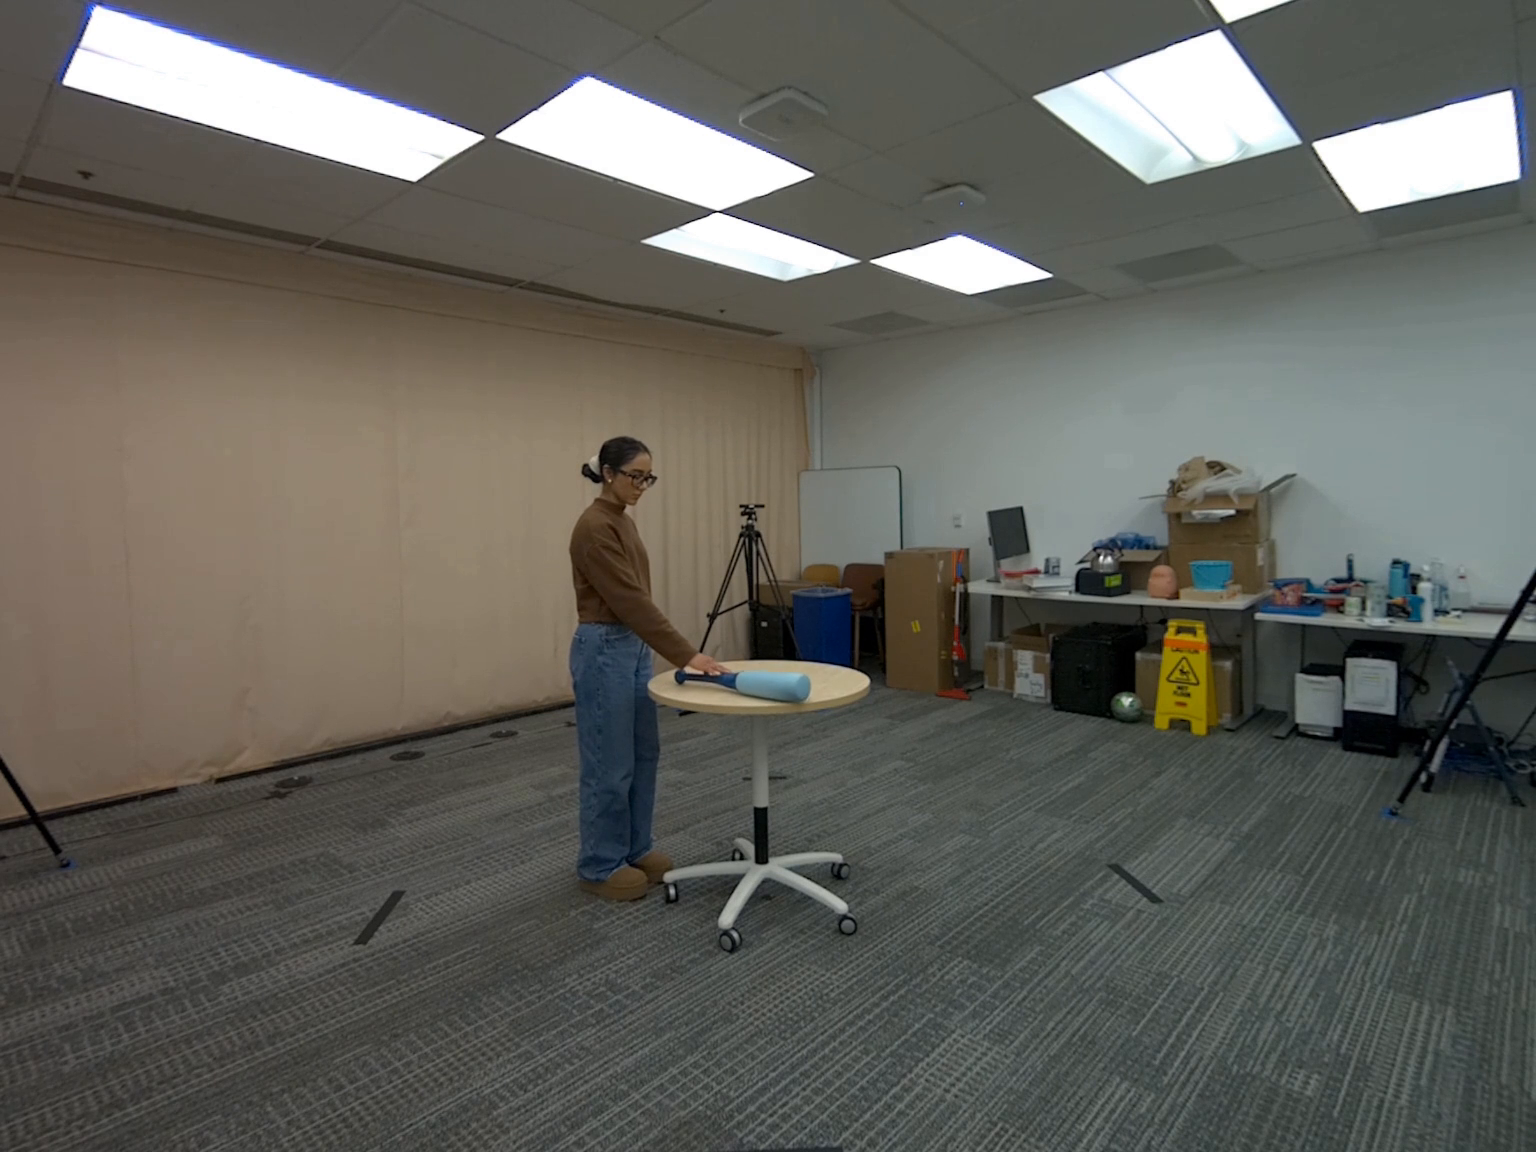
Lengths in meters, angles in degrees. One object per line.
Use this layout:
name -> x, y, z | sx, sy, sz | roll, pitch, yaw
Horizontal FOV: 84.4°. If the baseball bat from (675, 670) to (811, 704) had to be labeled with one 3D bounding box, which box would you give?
baseball bat -> -0.098, 0.346, 2.718 | 0.560, 0.089, 0.086 | -2, 2, 40
